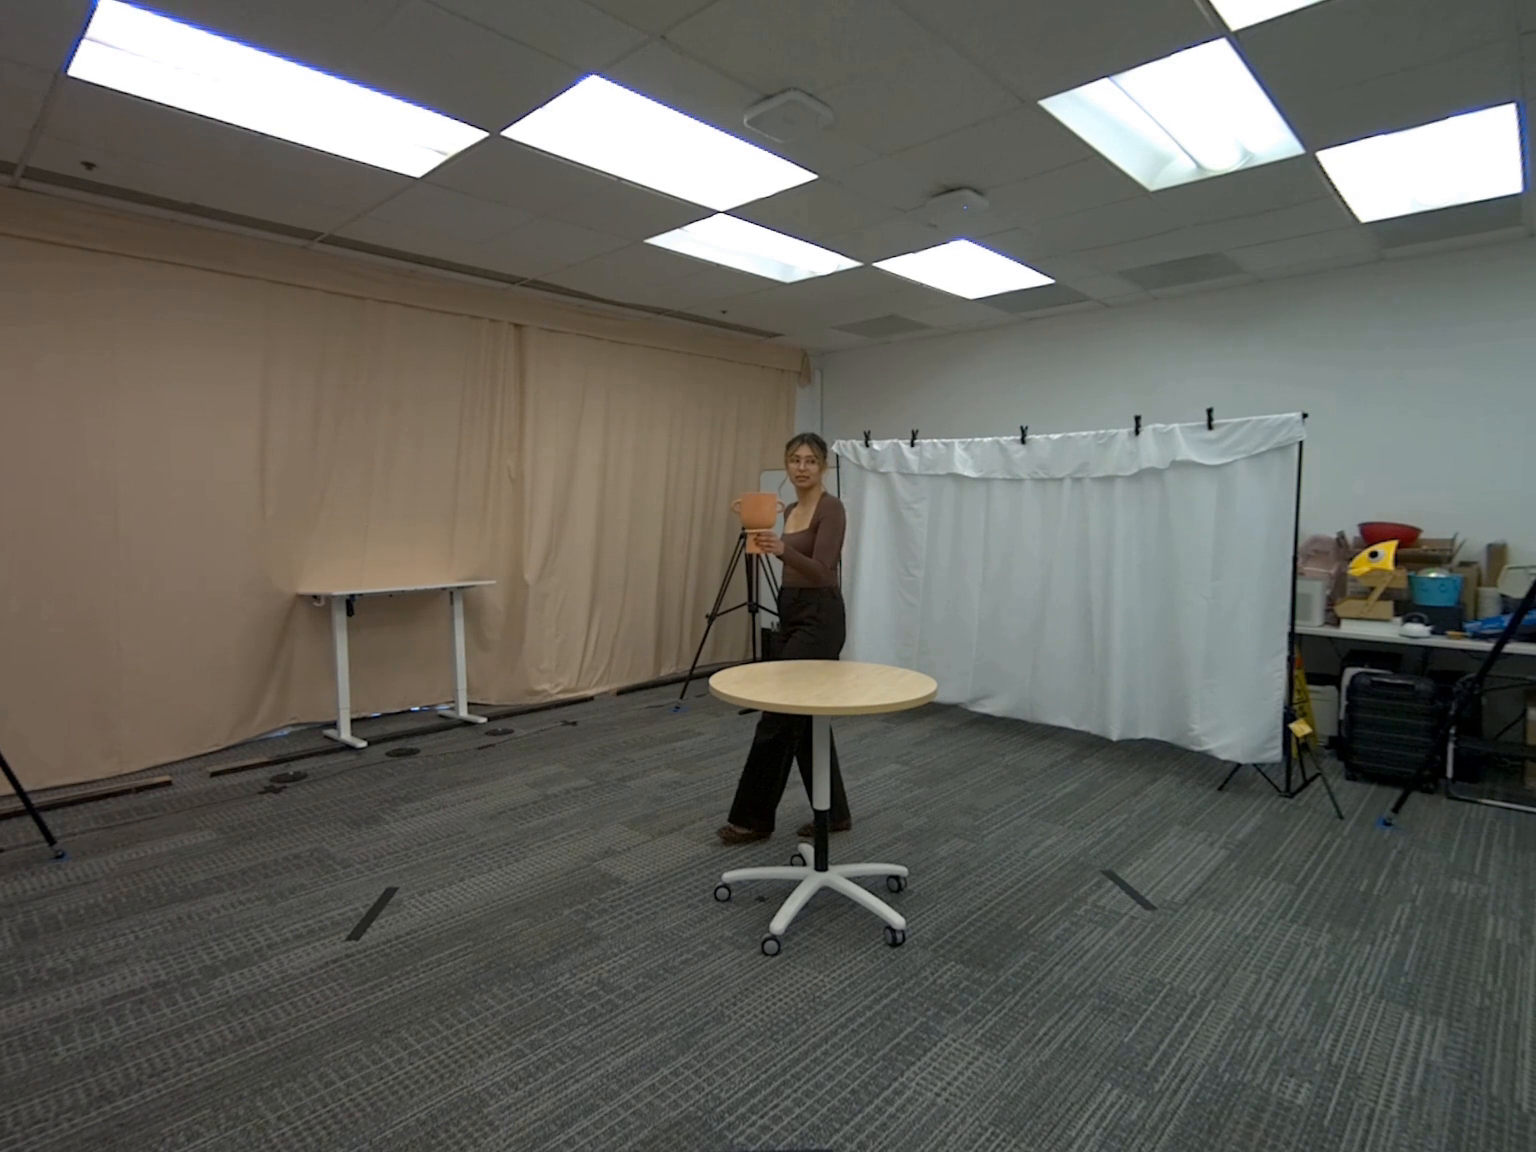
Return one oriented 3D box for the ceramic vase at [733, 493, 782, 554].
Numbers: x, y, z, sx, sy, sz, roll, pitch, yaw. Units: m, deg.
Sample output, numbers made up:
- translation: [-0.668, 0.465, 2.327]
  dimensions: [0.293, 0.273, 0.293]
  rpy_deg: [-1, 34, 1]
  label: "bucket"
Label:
- translation: [-0.032, -0.194, 3.093]
  dimensions: [0.164, 0.219, 0.131]
  rpy_deg: [2, 5, 36]
  label: "ceramic vase"
